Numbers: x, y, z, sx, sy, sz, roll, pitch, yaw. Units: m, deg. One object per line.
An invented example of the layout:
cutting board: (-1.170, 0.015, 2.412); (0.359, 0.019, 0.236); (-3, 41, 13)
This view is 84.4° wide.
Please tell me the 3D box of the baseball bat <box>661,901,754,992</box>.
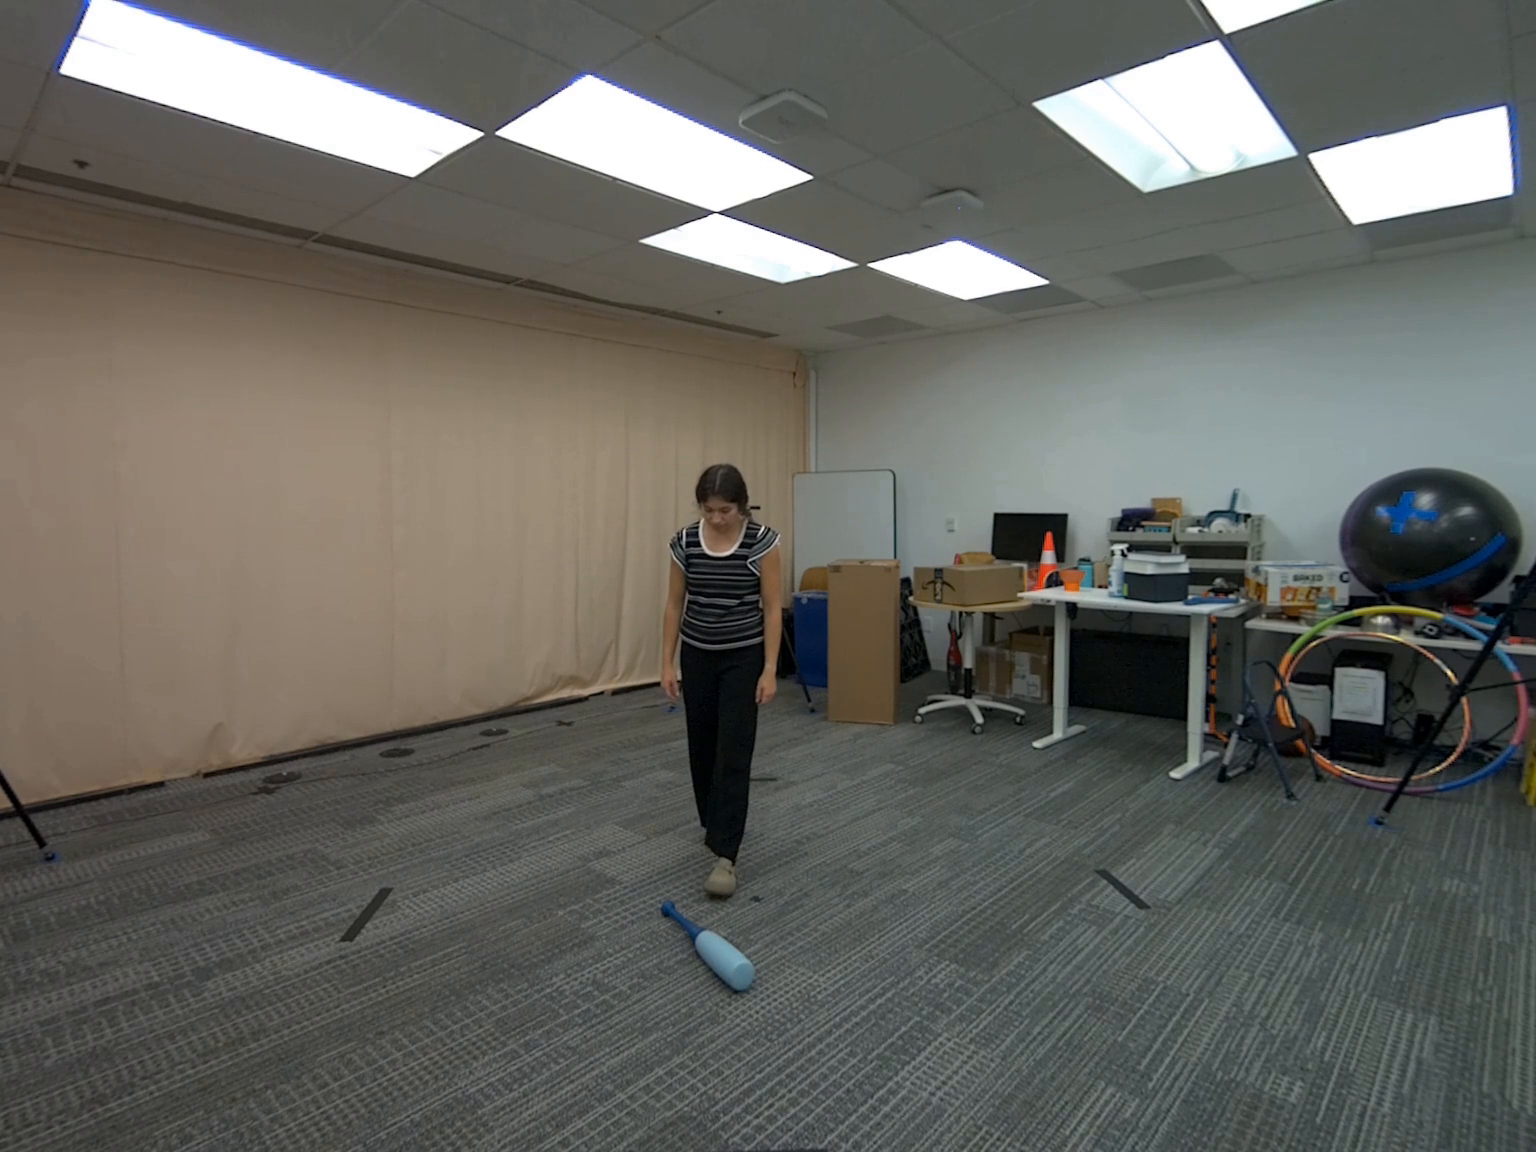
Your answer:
baseball bat: (-0.207, 1.135, 2.634); (0.087, 0.089, 0.557); (-2, 2, -29)
